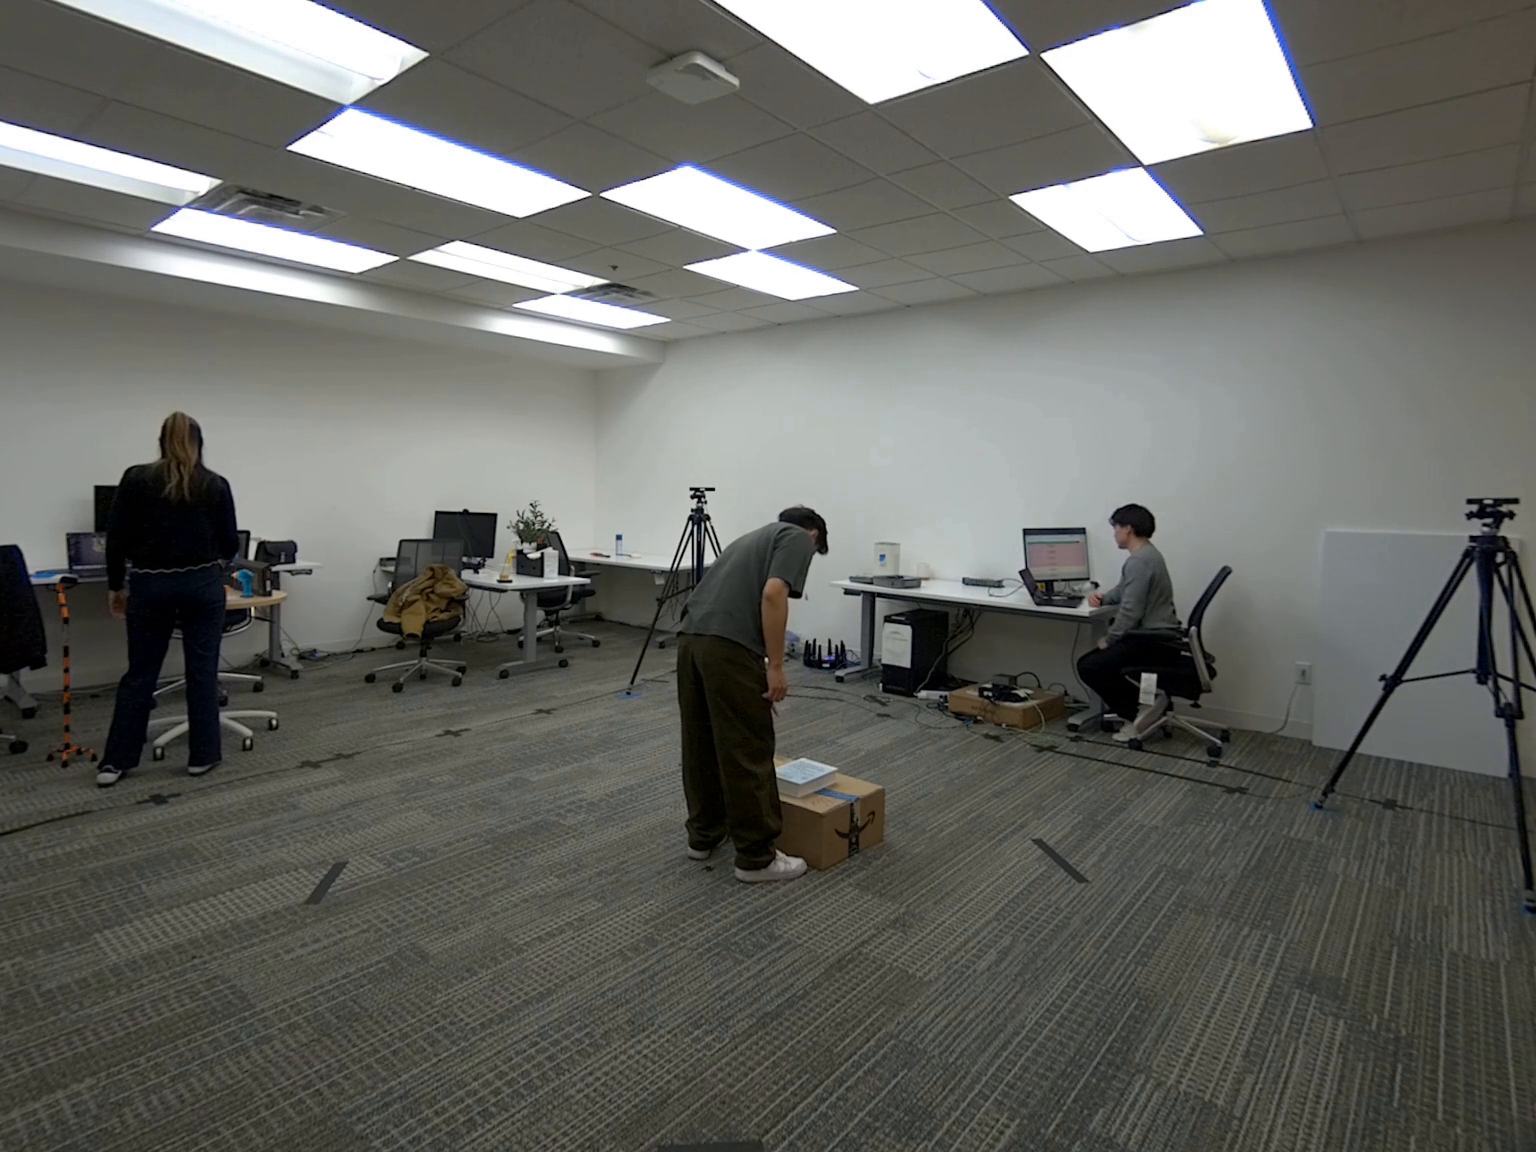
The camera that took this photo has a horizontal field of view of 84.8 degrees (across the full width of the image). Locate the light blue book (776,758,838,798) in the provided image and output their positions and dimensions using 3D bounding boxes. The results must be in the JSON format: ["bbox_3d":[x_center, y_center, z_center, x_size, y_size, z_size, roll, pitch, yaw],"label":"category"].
[{"bbox_3d":[0.121,0.801,3.418,0.198,0.059,0.253,7,8,40],"label":"light blue book"}]
